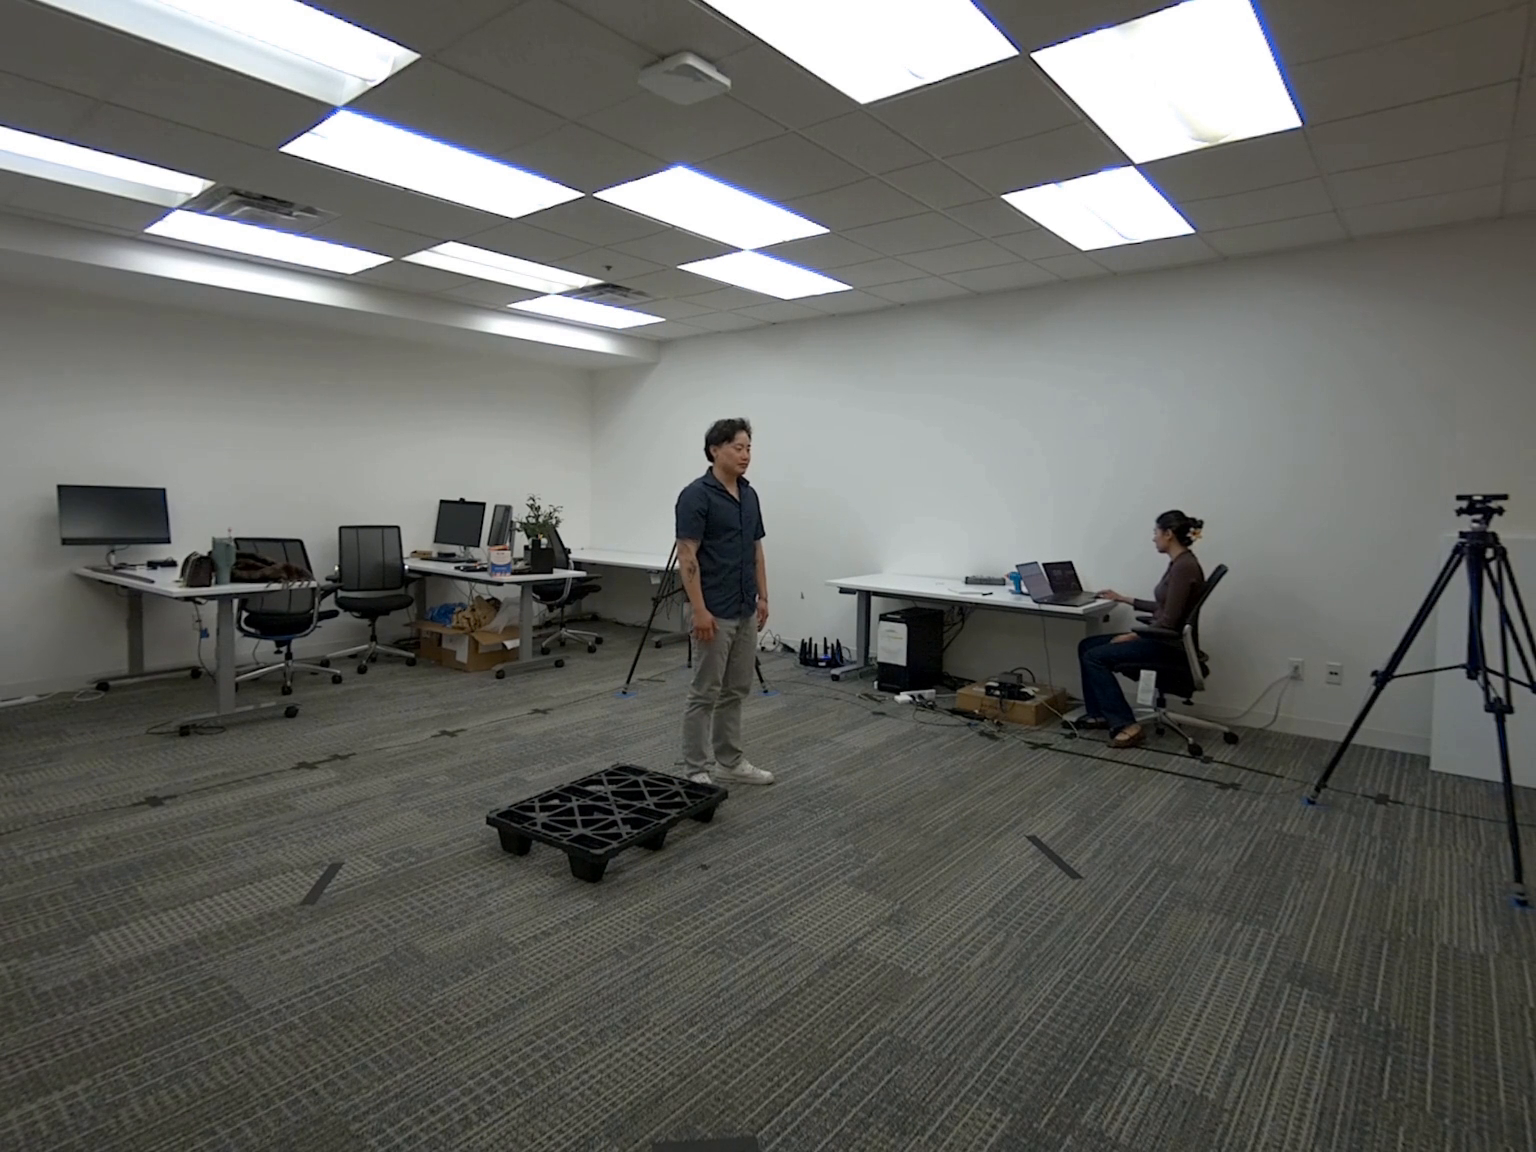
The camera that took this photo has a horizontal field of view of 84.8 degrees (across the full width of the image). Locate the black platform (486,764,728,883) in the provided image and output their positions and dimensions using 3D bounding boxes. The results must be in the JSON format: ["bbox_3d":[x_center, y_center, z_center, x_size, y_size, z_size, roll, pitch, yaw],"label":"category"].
[{"bbox_3d":[-0.636,0.966,3.397,0.624,0.143,0.784,3,6,33],"label":"black platform"}]
